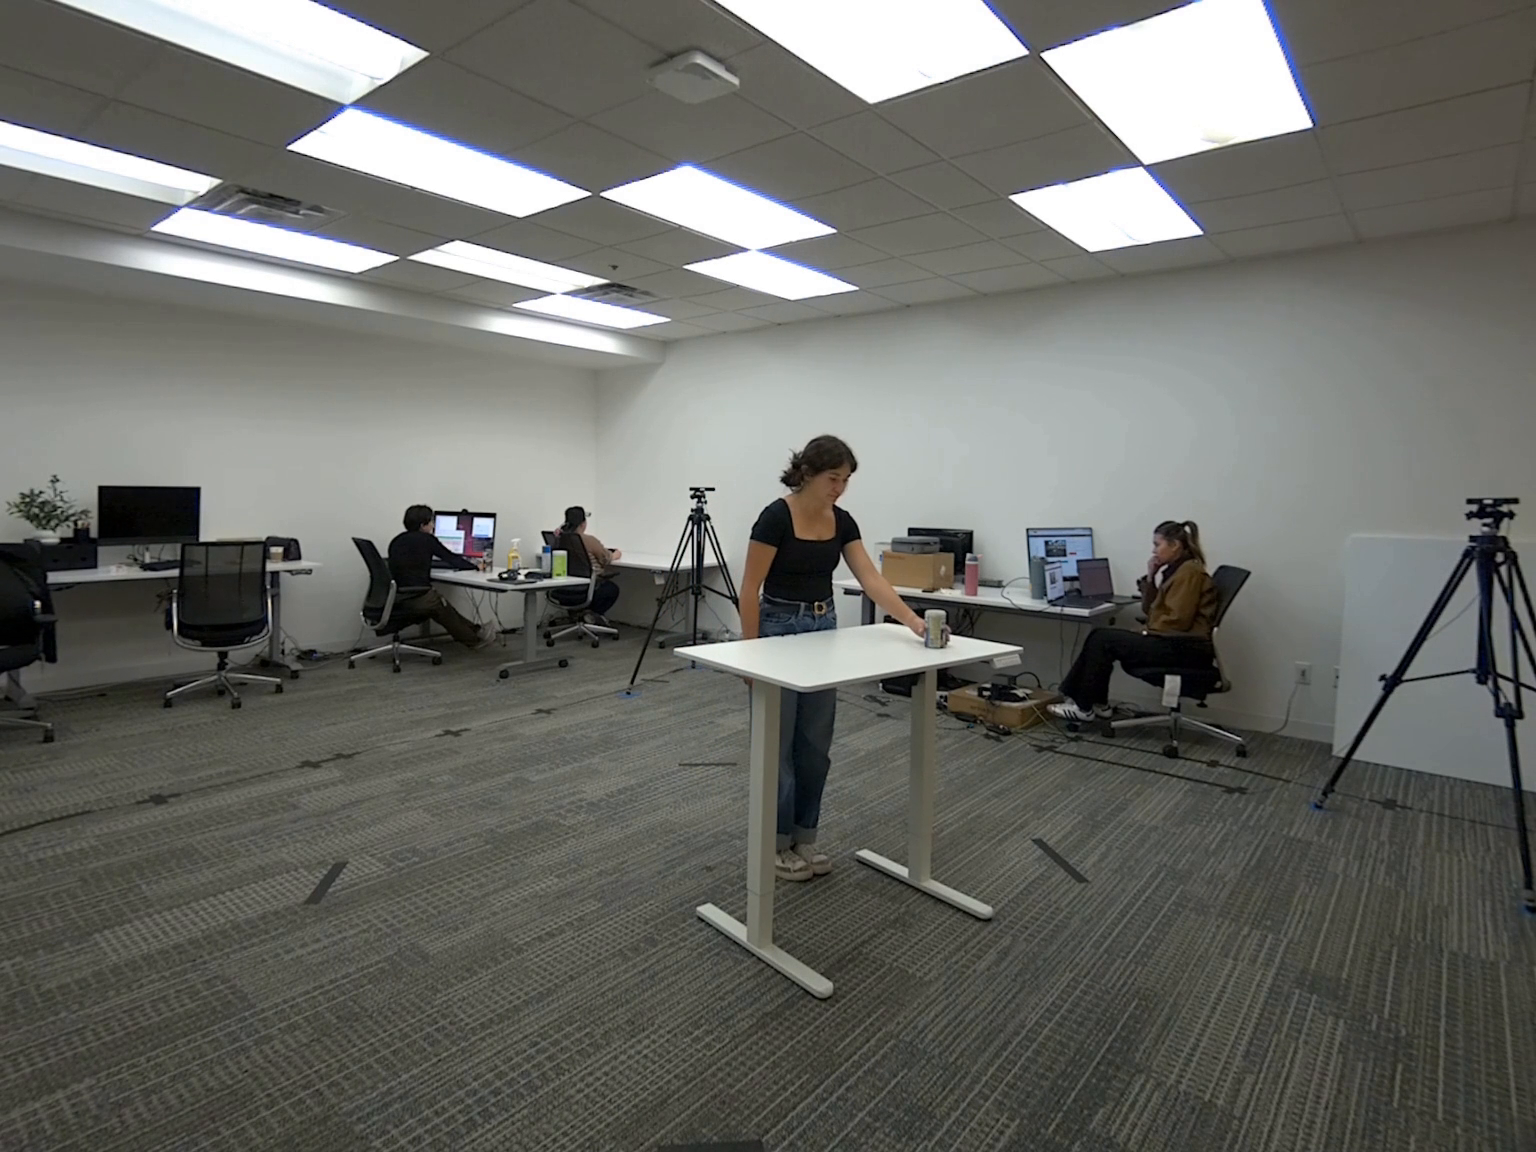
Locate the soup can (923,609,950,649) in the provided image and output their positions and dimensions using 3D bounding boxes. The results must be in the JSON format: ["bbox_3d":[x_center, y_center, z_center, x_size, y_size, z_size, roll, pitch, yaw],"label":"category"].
[{"bbox_3d":[0.544,0.171,2.795,0.067,0.121,0.067,1,1,-2],"label":"soup can"}]
